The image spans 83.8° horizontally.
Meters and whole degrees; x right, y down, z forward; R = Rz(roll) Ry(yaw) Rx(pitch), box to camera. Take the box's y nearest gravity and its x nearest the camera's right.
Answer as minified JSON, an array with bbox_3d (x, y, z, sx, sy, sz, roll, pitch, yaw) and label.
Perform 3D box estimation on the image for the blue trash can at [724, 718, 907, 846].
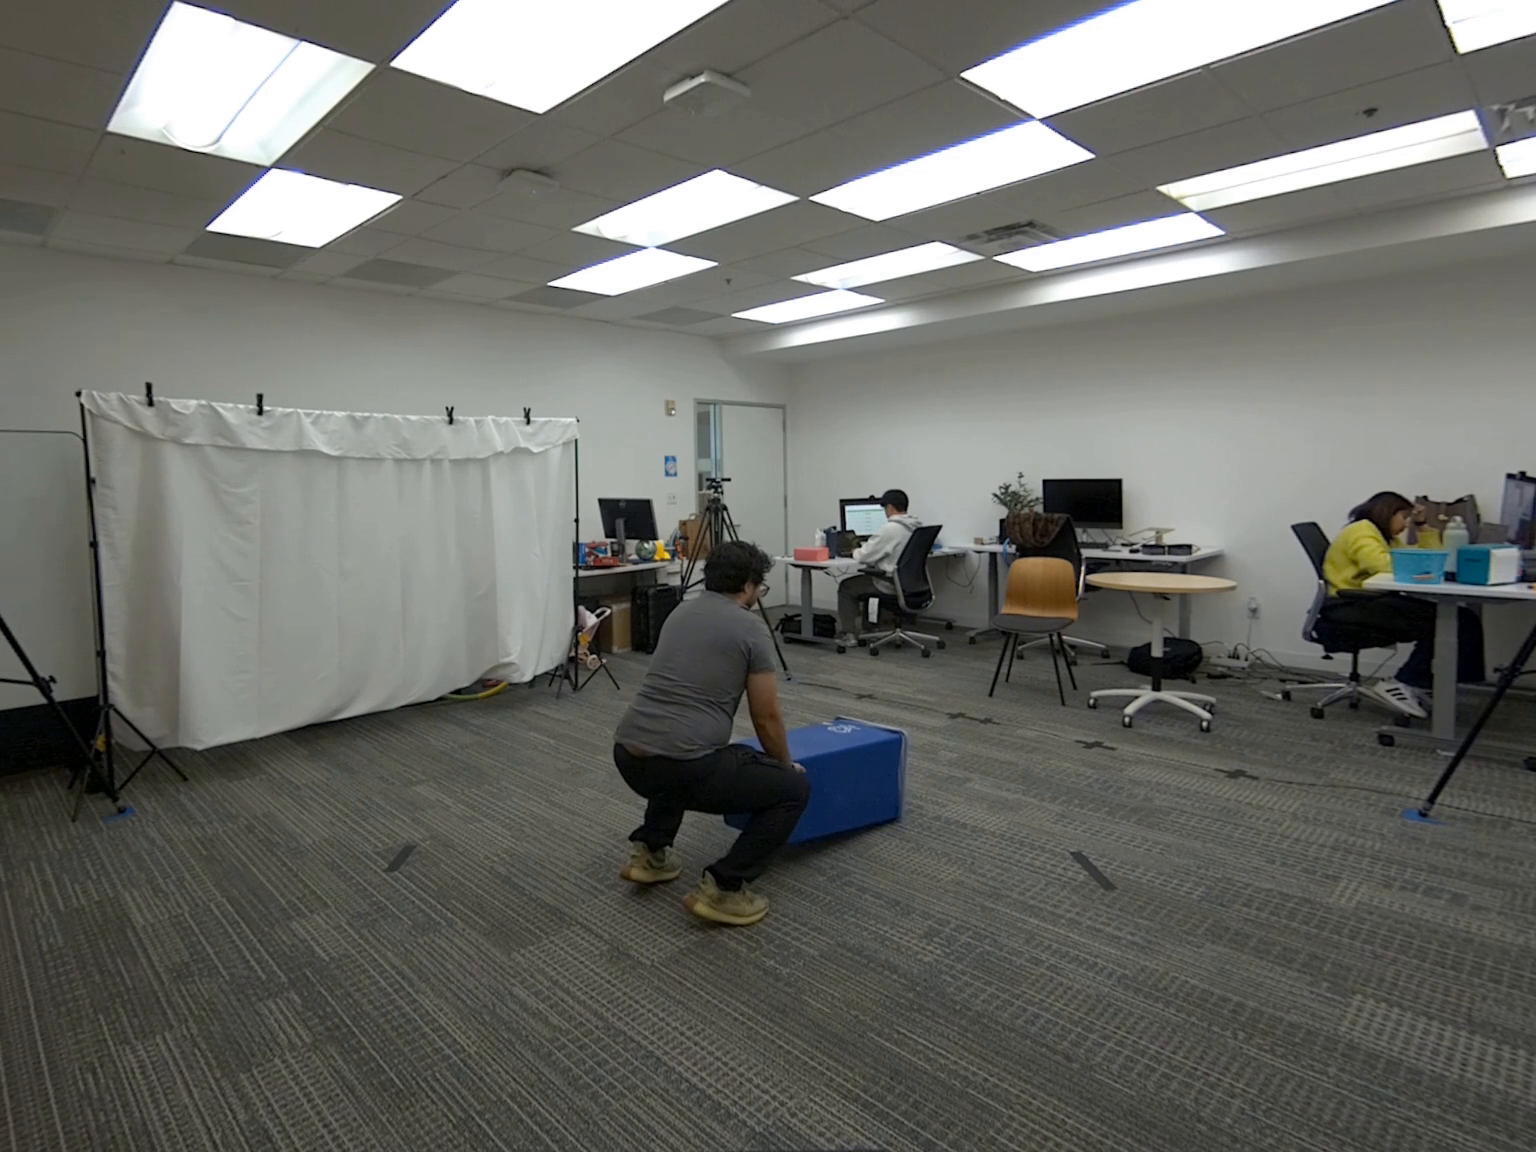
[{"bbox_3d":[0.195,0.799,3.333,0.386,0.378,0.692,5,3,43],"label":"blue trash can"}]
